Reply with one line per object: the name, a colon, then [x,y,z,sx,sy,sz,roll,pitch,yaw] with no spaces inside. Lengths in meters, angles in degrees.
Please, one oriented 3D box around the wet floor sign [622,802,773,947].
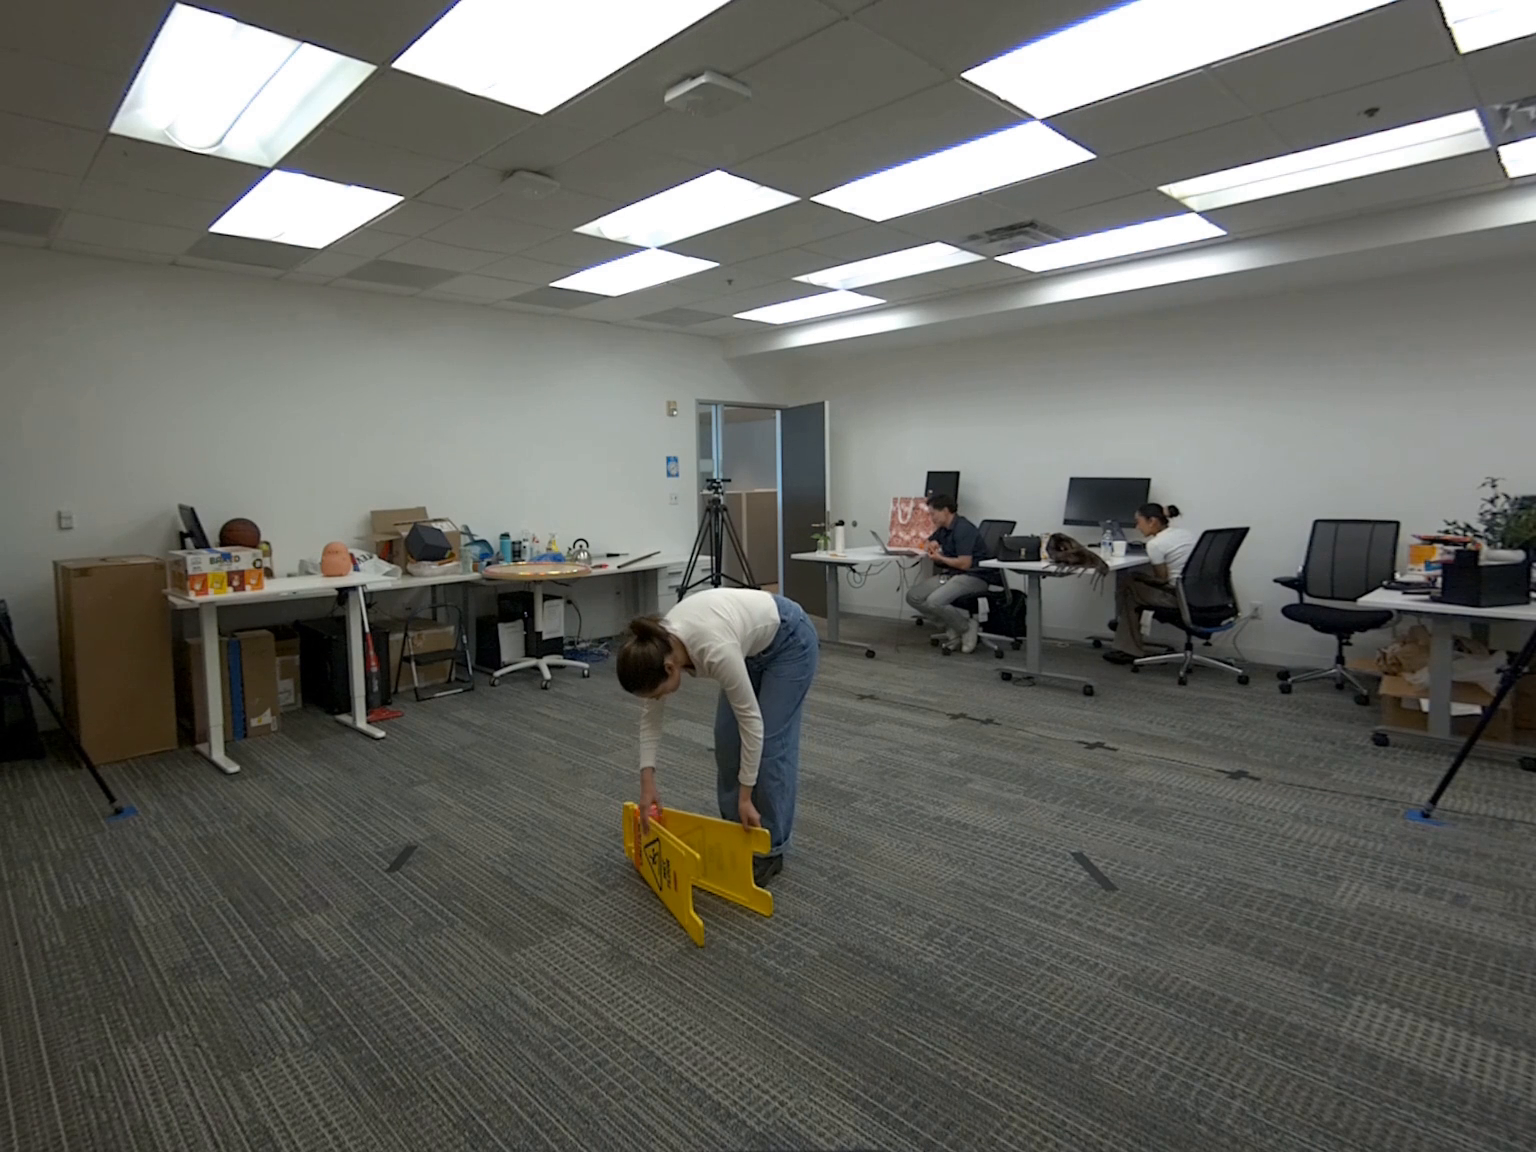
wet floor sign: [-0.300,0.944,2.888,0.282,0.281,0.665,-6,6,-39]
